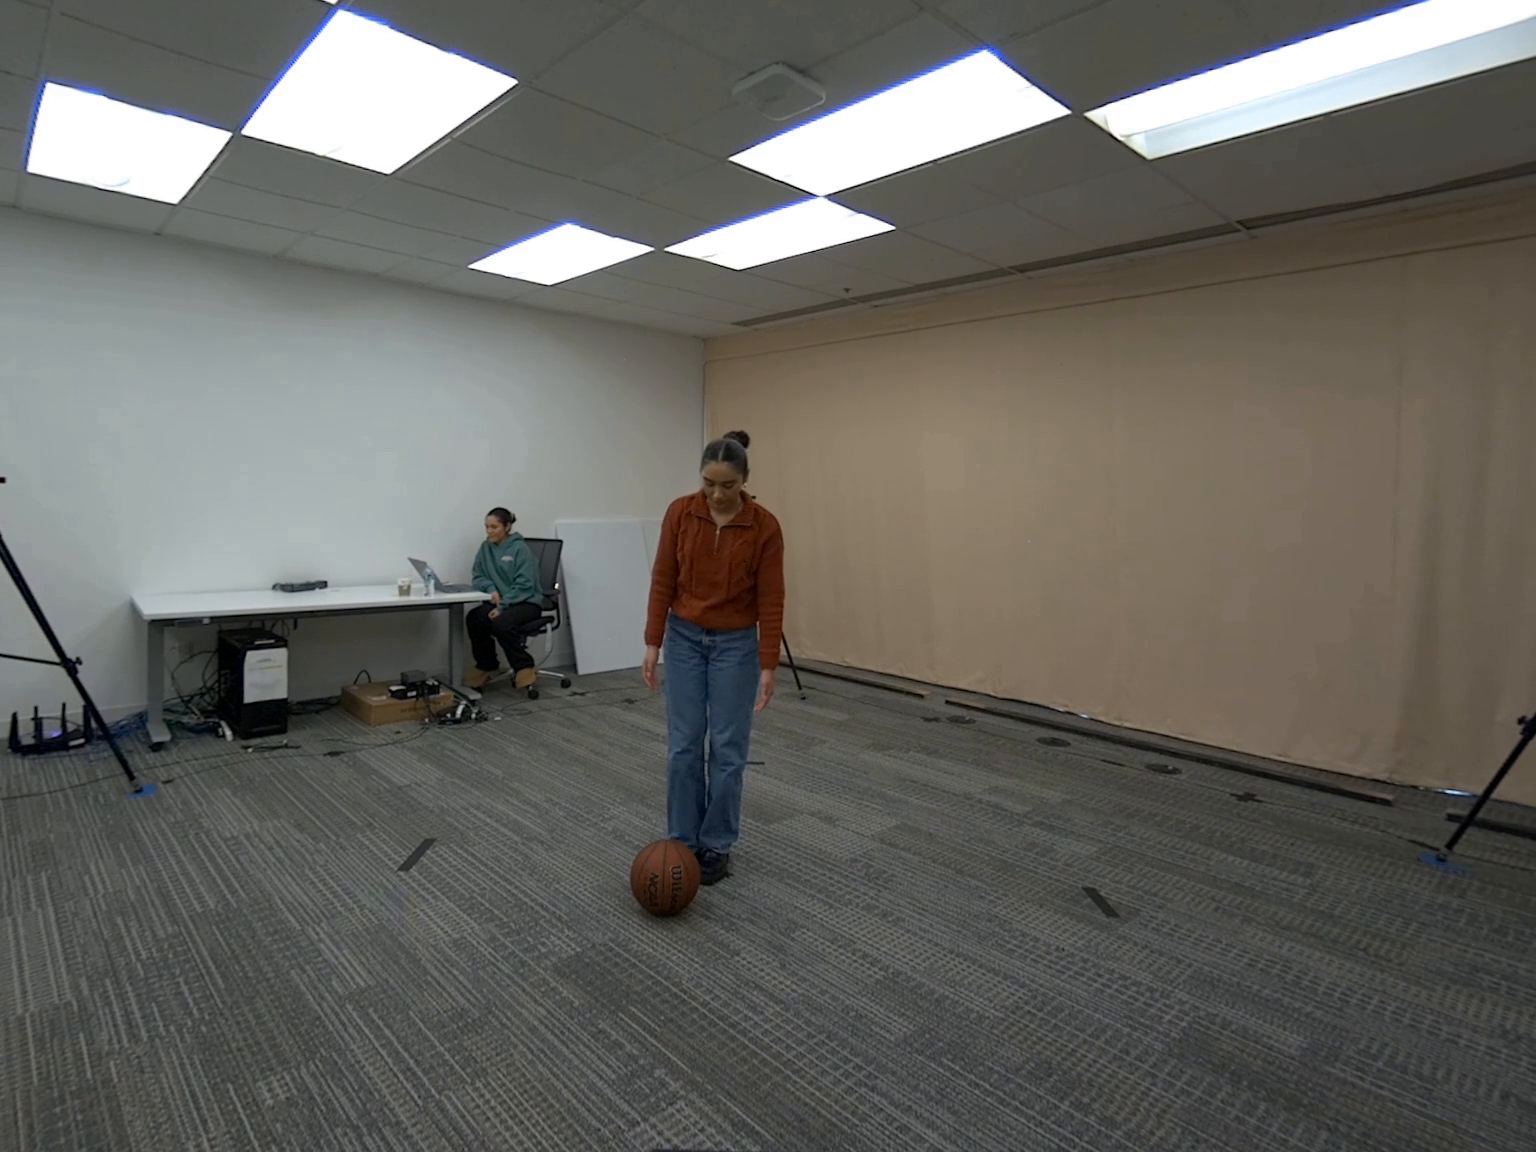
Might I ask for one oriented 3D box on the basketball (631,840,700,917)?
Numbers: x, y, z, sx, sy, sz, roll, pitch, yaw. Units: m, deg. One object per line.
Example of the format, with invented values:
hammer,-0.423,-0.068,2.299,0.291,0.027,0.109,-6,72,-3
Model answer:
basketball,-0.356,1.005,2.819,0.236,0.235,0.237,1,4,-1
